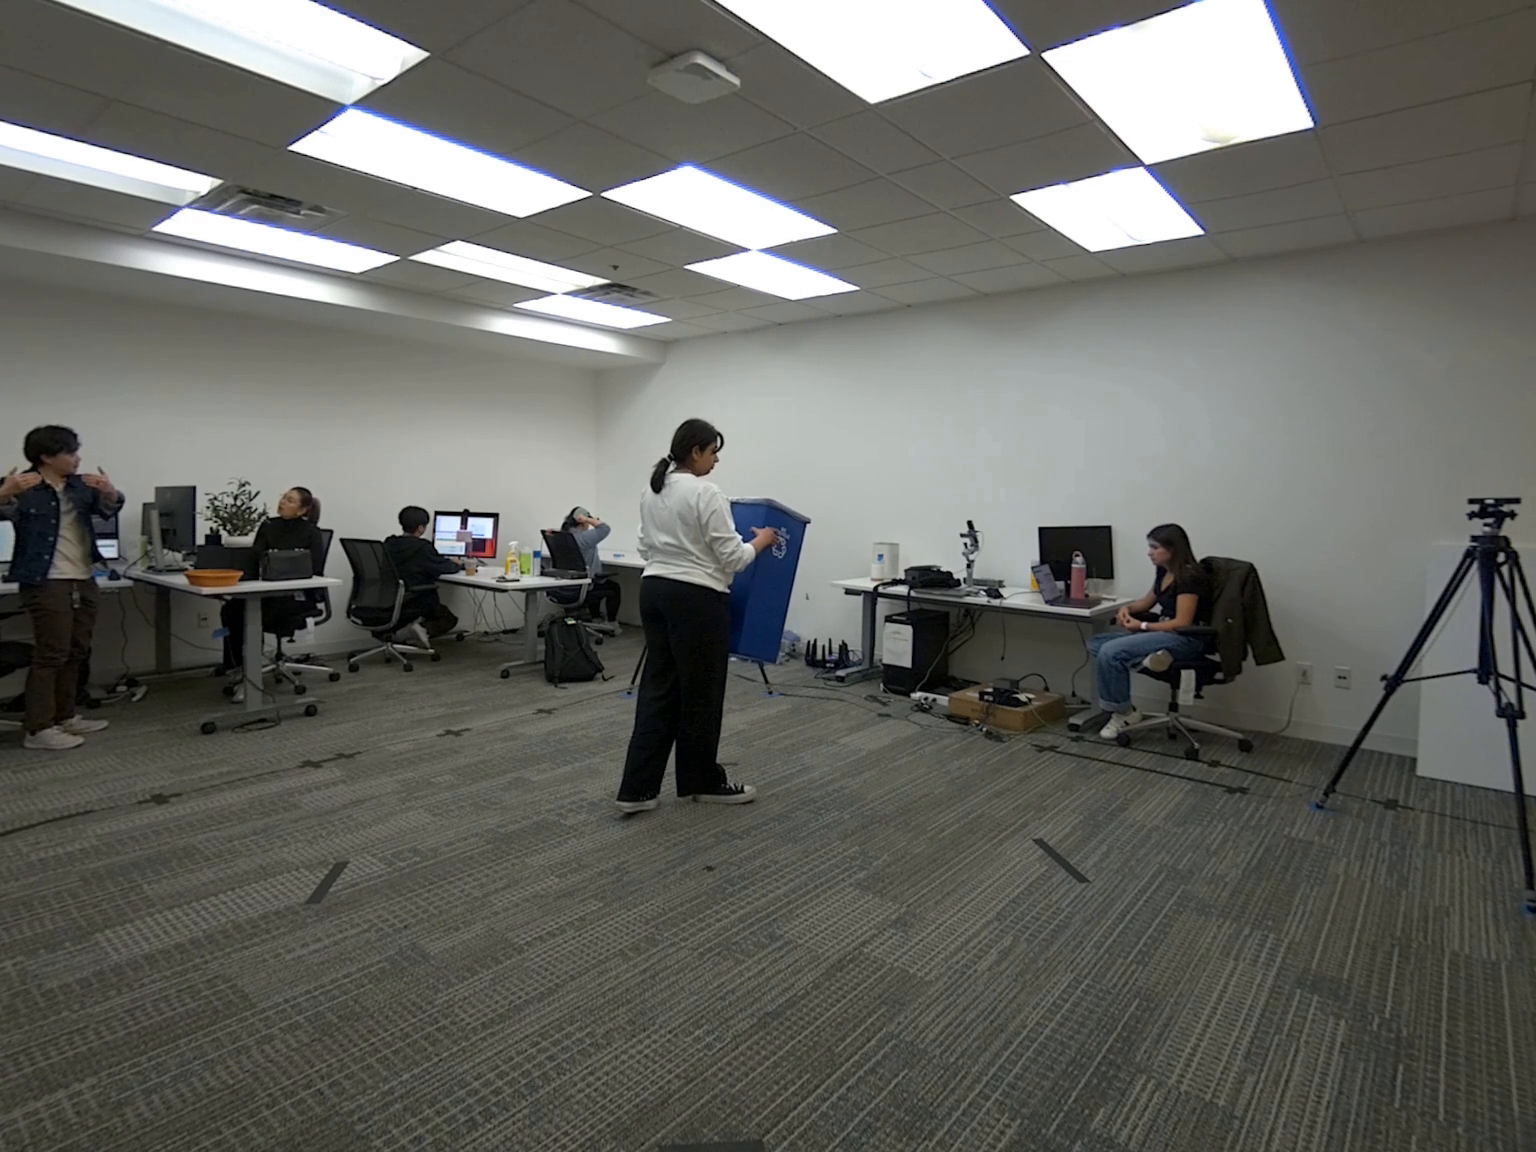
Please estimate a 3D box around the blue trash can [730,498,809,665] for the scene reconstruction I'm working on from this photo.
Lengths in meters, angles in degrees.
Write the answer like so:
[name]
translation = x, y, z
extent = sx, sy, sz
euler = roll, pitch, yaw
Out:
[blue trash can]
translation = -0.102, 0.018, 4.021
extent = 0.390, 0.718, 0.359
euler = 3, -11, 39
